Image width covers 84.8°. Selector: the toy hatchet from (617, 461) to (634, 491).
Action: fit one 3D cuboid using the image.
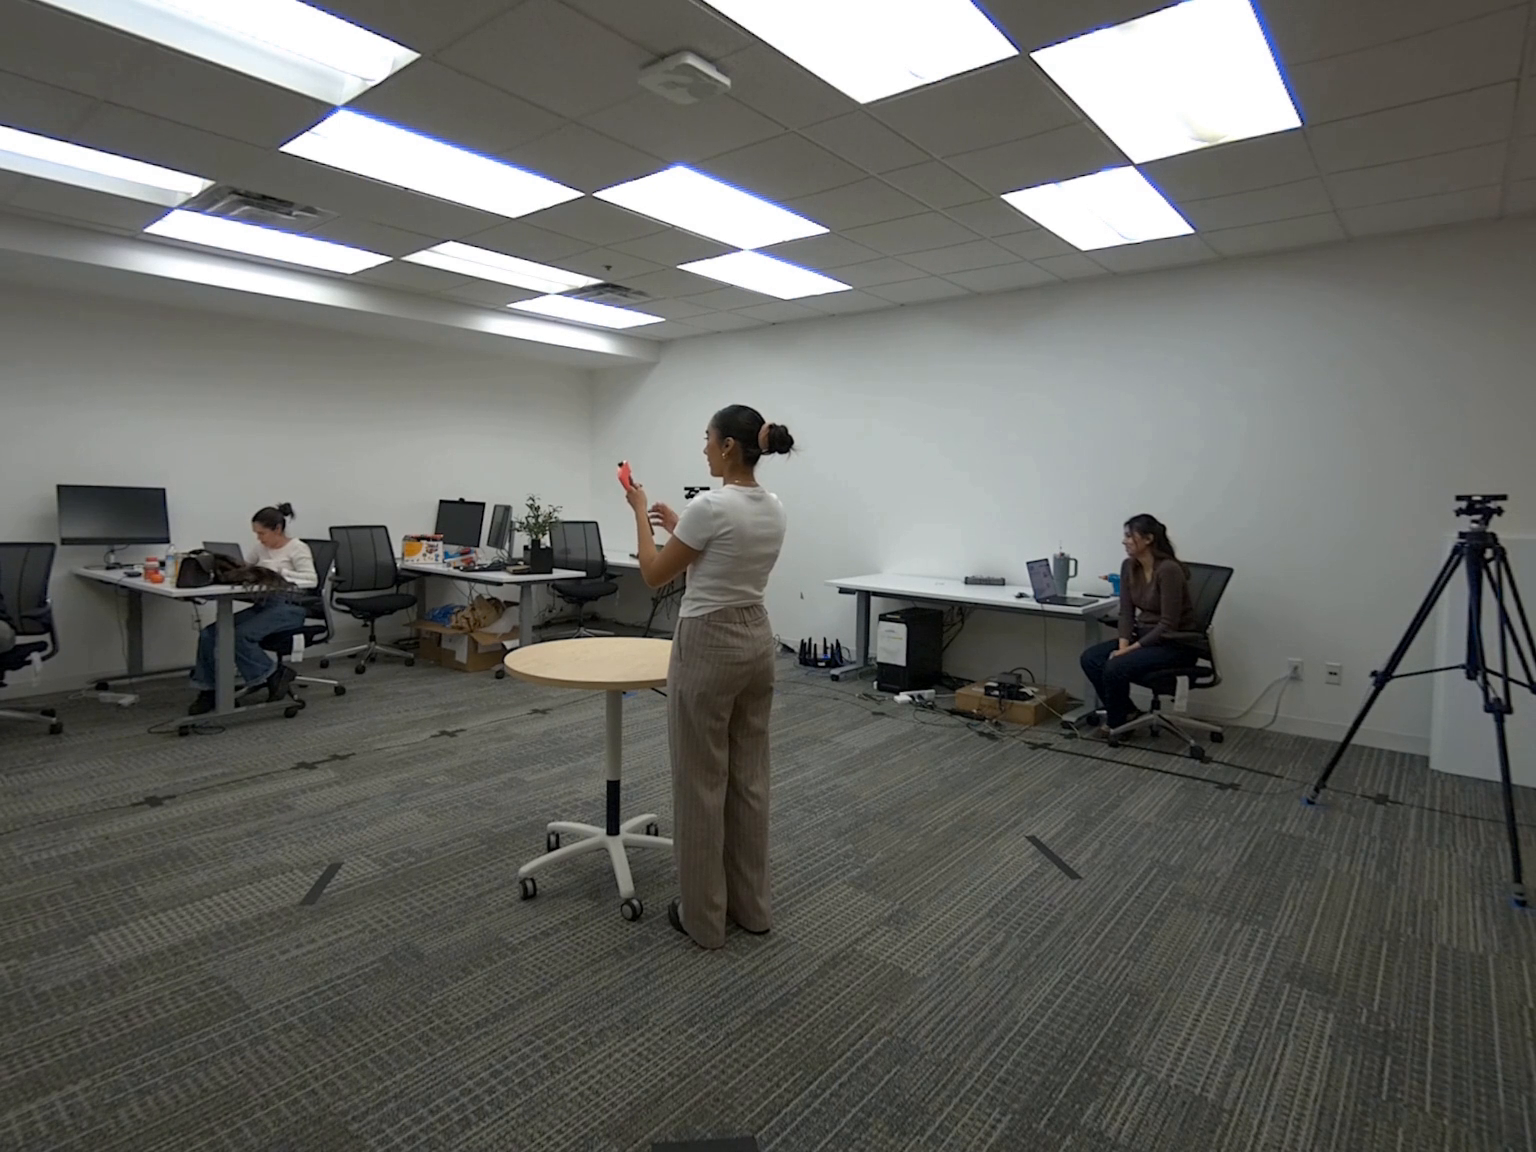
[{"bbox_3d":[-0.449,-0.252,2.766,0.030,0.268,0.131,-18,6,10],"label":"toy hatchet"}]
